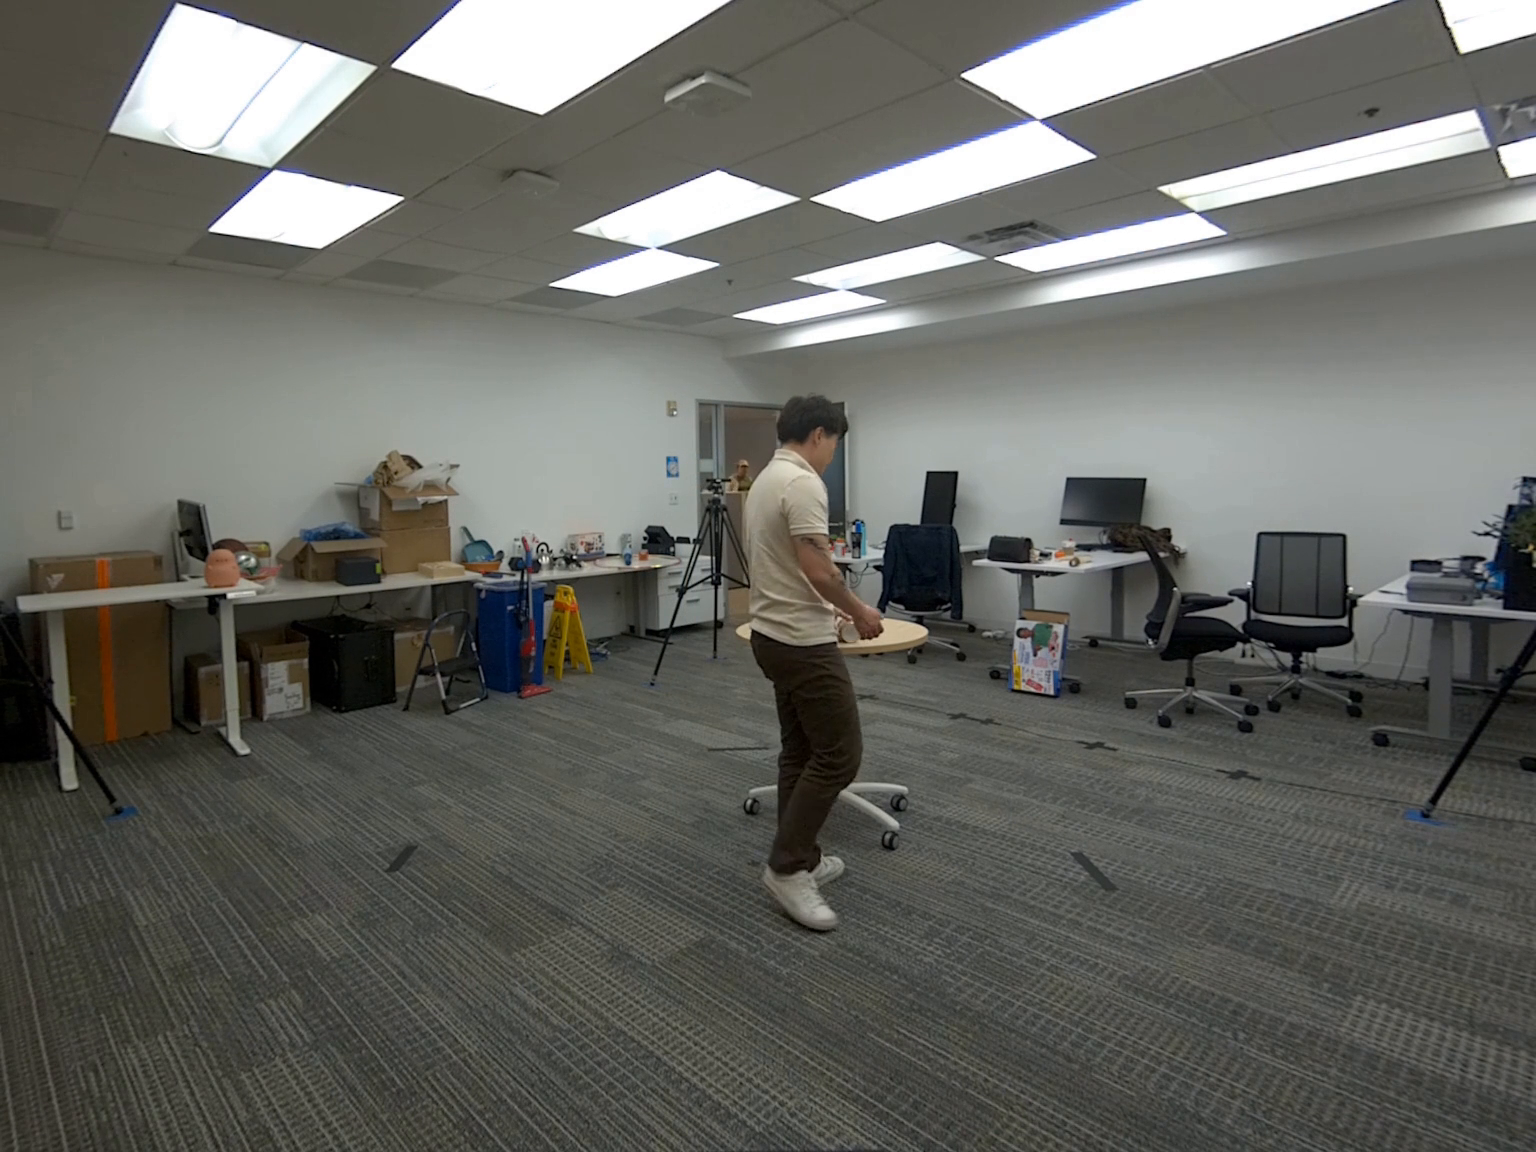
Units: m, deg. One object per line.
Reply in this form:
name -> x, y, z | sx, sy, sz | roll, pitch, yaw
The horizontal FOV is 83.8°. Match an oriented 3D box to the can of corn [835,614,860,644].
can of corn -> 0.303, 0.204, 3.195 | 0.074, 0.074, 0.111 | -1, 5, 3
